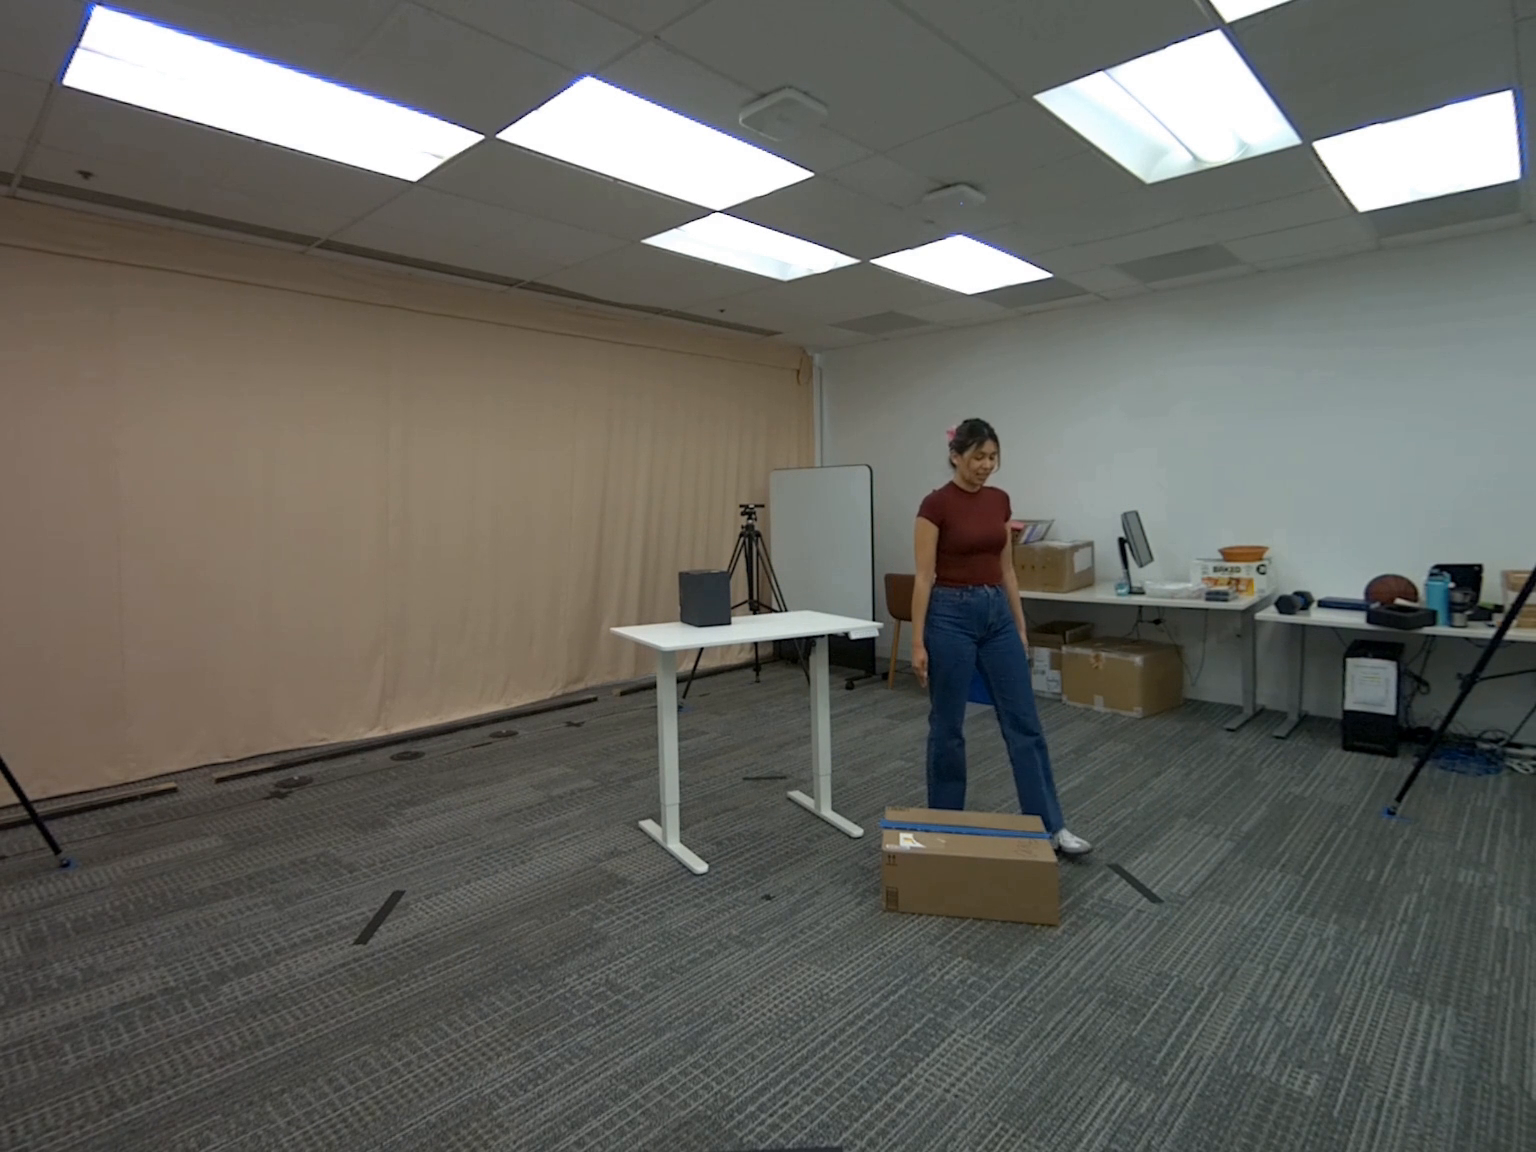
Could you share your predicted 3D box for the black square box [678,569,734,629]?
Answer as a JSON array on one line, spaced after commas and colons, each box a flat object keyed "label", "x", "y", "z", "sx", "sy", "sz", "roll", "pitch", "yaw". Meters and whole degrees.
[{"label": "black square box", "x": -0.273, "y": 0.094, "z": 3.670, "sx": 0.152, "sy": 0.227, "sz": 0.222, "roll": -3, "pitch": 3, "yaw": -27}]
